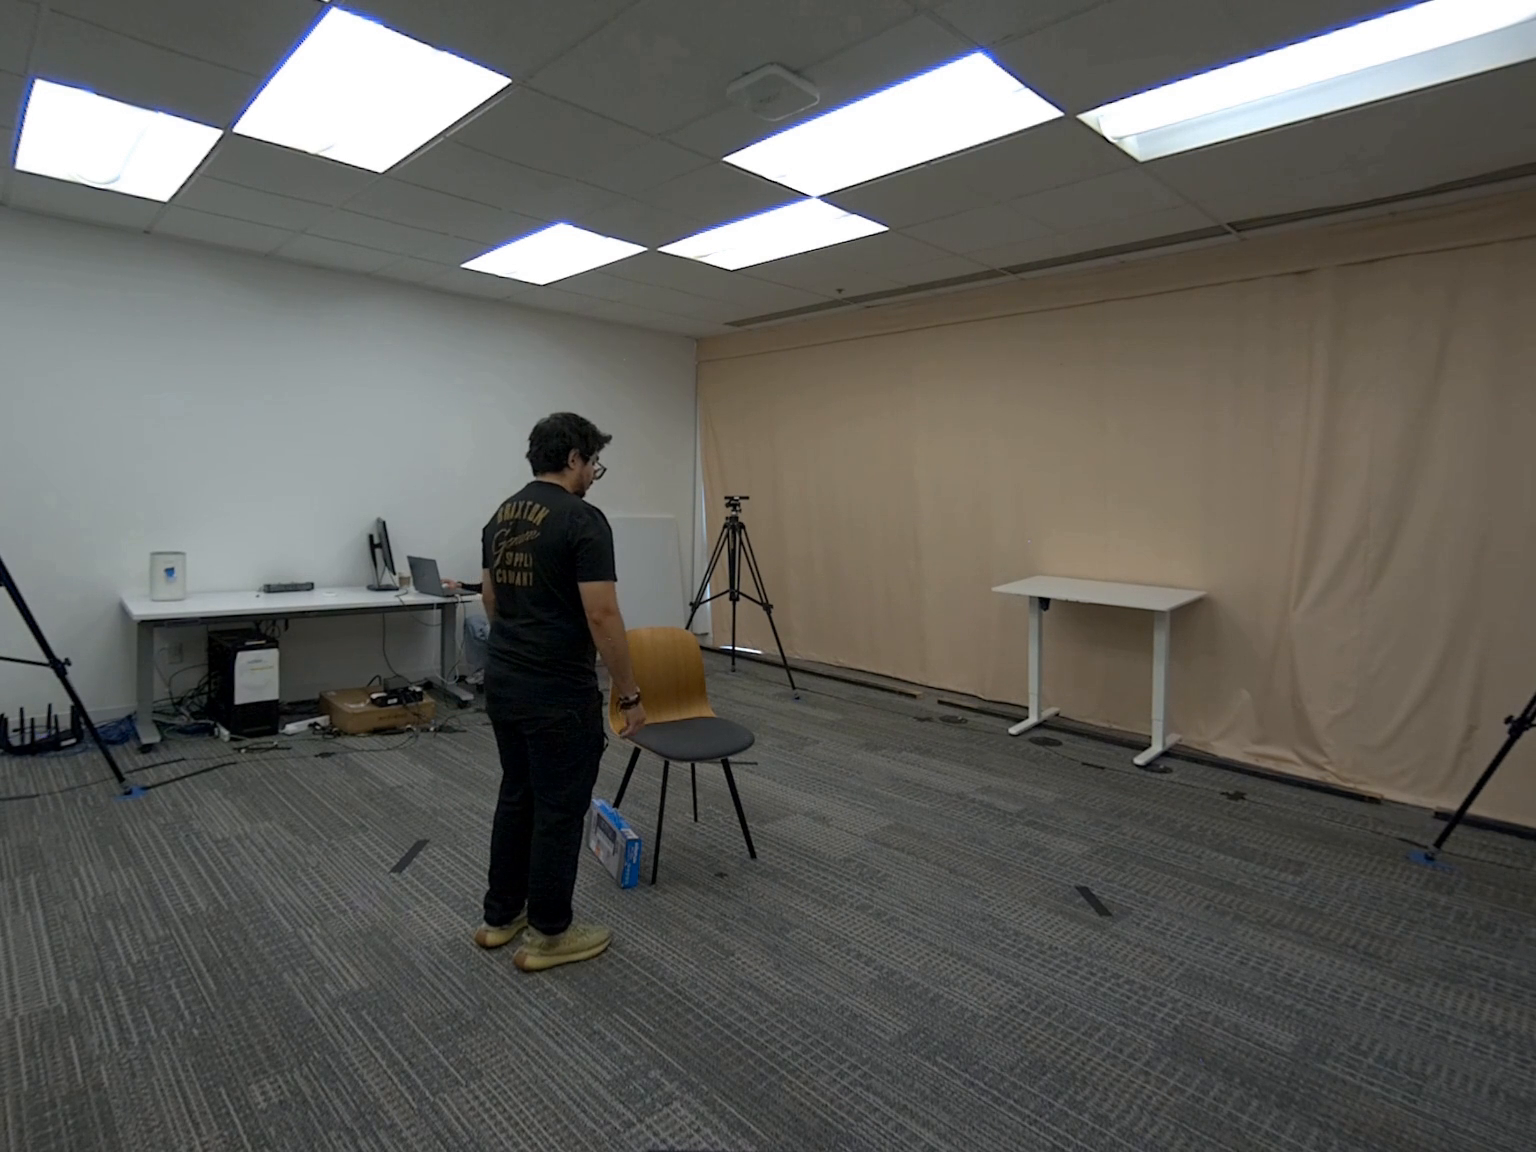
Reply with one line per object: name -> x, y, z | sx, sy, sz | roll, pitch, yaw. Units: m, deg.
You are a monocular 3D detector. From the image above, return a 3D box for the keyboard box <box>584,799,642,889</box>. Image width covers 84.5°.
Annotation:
keyboard box -> -0.599, 1.006, 3.175 | 0.058, 0.176, 0.446 | 7, 2, -29
